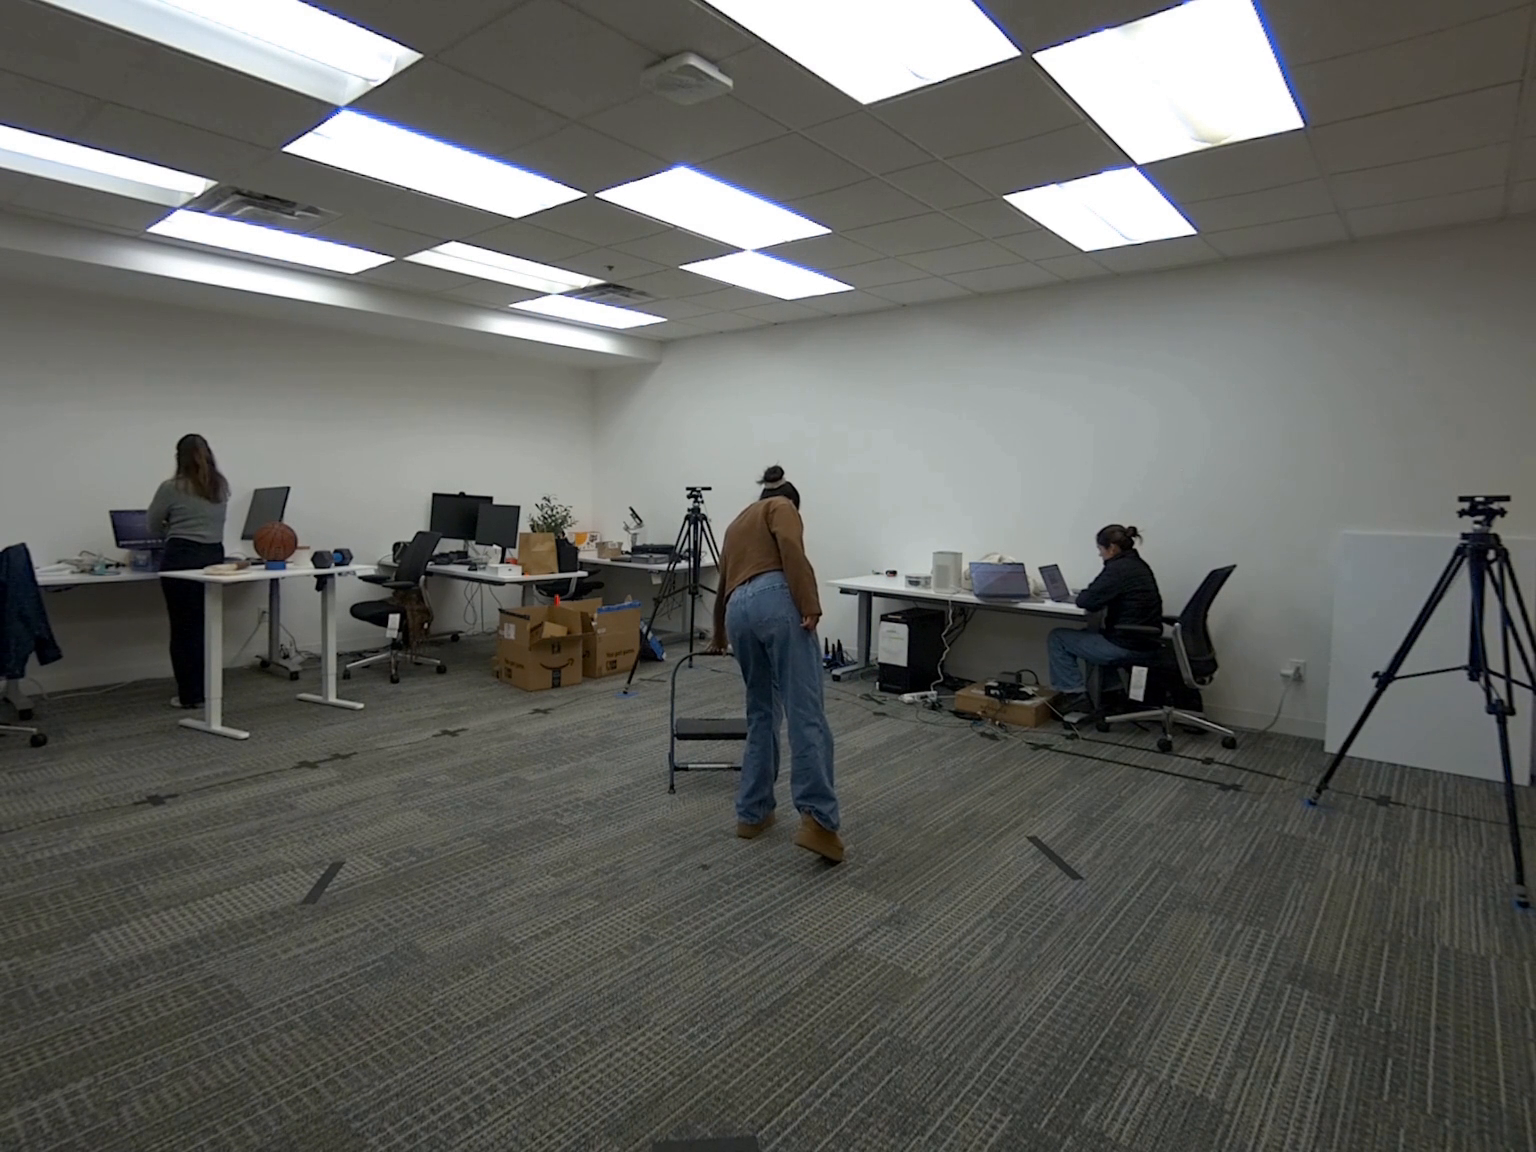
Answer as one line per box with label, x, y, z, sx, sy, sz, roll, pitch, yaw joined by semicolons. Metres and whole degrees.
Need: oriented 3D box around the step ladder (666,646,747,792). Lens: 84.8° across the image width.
step ladder;-0.271;0.671;4.040;0.428;0.604;0.352;0;4;-6
